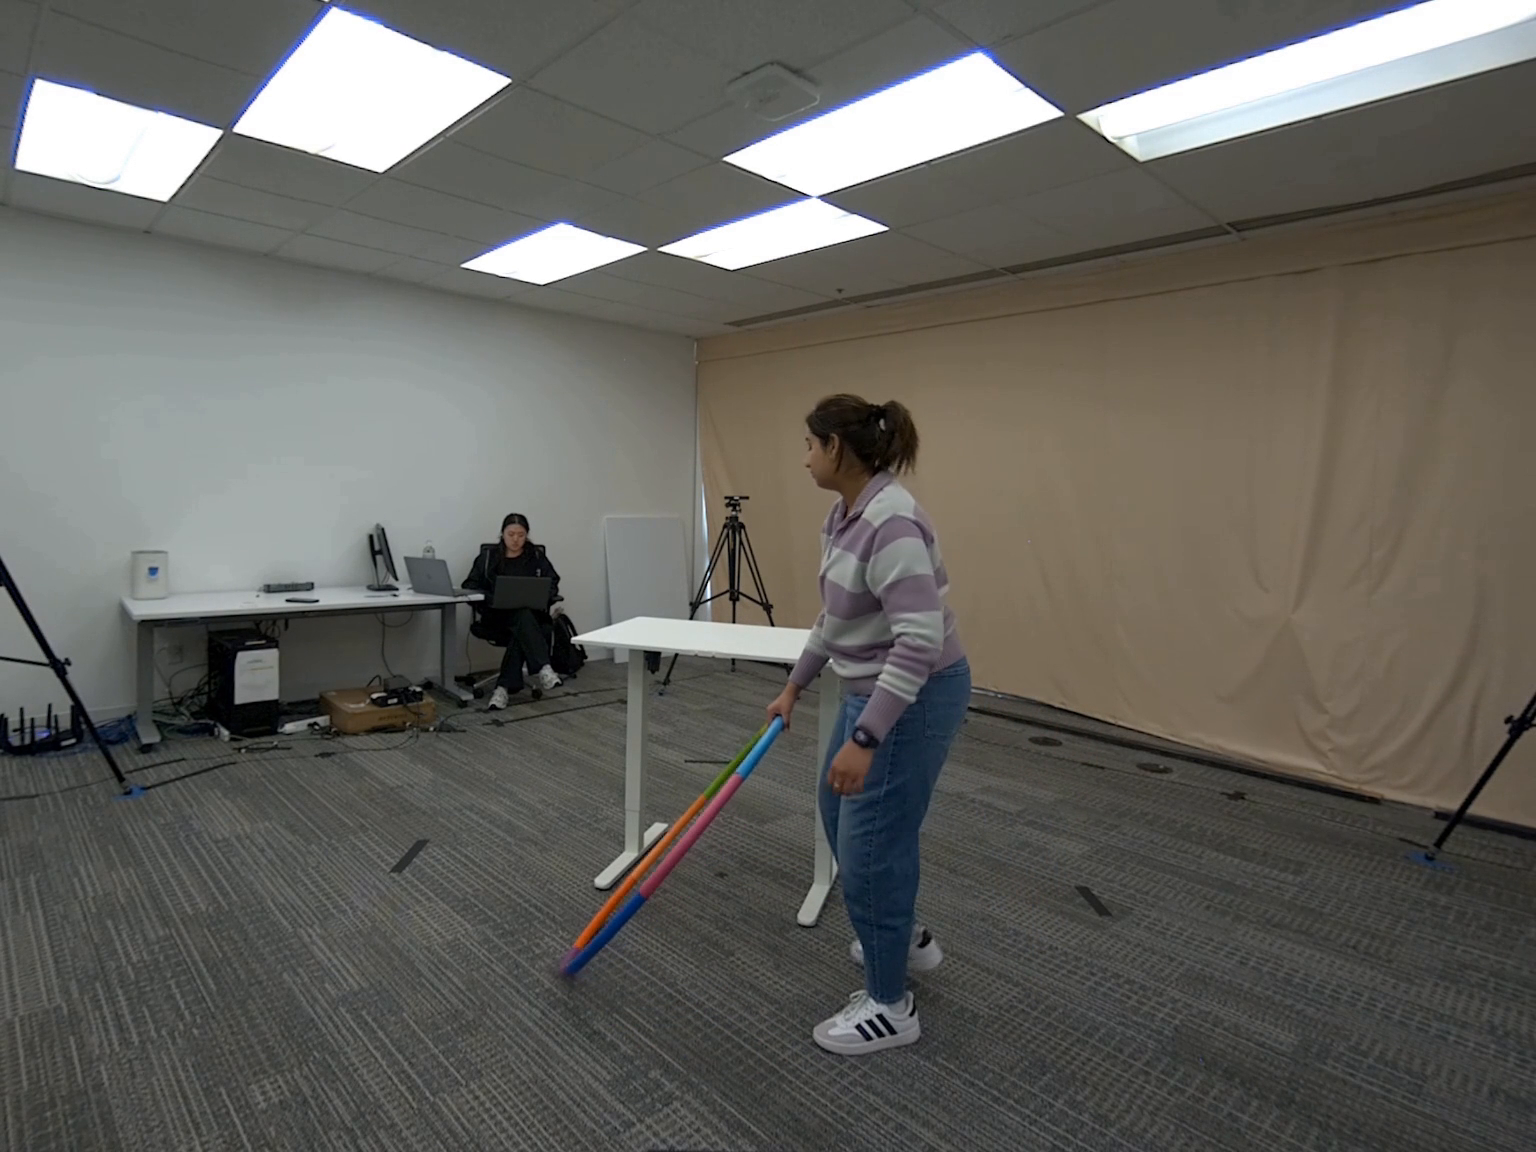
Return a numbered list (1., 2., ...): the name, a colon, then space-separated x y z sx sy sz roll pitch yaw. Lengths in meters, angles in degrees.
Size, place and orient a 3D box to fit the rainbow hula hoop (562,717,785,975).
1. rainbow hula hoop: -0.276 0.779 2.498 0.036 0.978 0.972 42 11 4
